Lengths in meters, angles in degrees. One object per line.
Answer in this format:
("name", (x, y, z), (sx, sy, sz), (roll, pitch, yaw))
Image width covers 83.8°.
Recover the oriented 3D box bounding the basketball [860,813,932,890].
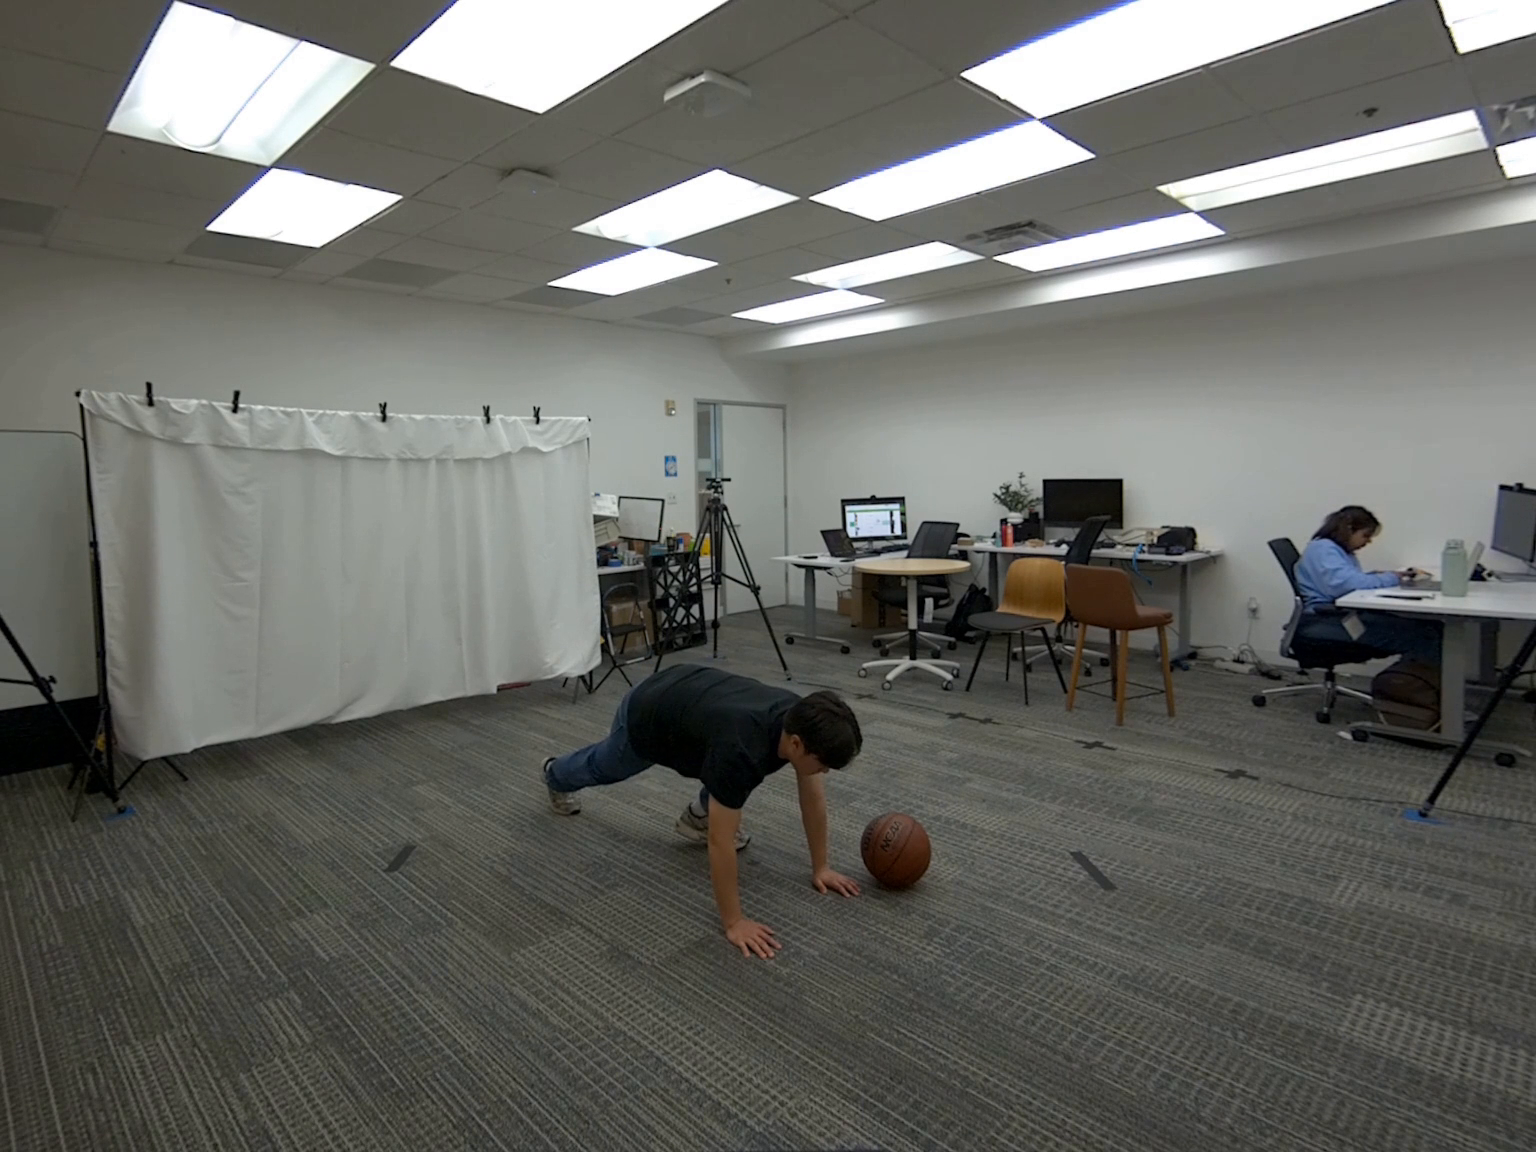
("basketball", (0.439, 0.927, 2.917), (0.236, 0.235, 0.237), (-1, 5, -2))
